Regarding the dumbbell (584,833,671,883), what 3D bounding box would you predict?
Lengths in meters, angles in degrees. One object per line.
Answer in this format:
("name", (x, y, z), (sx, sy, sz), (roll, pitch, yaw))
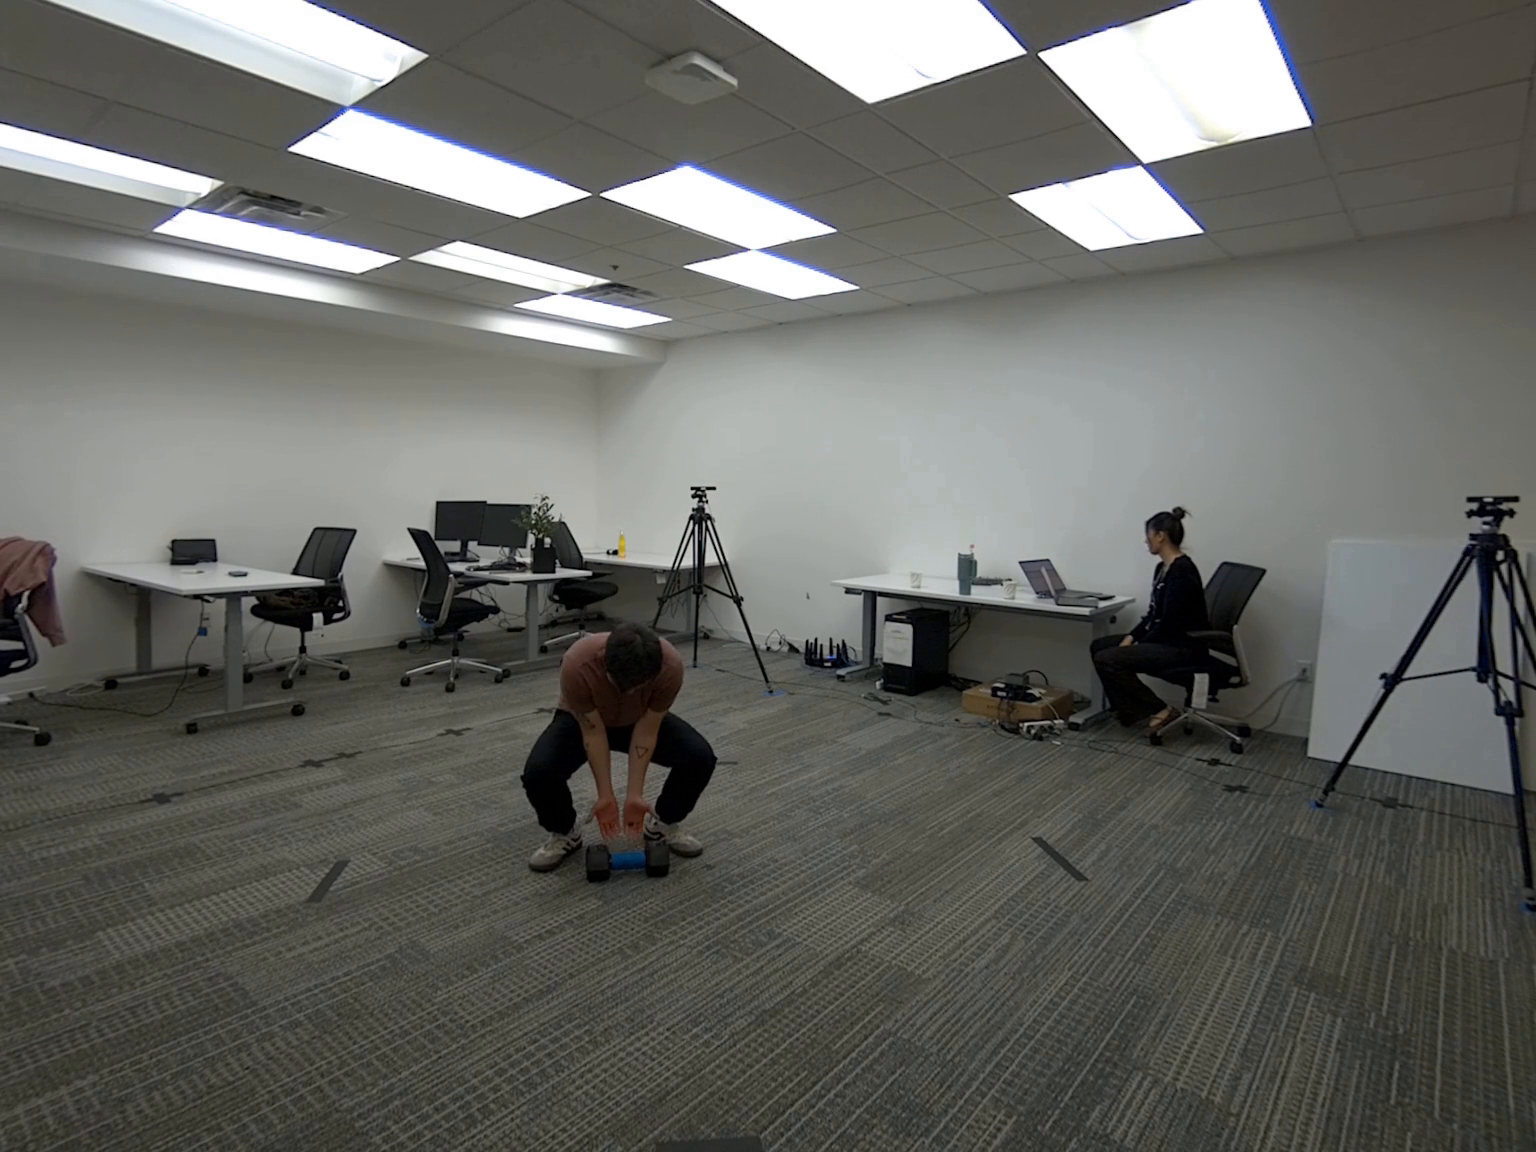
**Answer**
("dumbbell", (-0.510, 1.016, 3.030), (0.290, 0.126, 0.107), (1, -27, -11))
